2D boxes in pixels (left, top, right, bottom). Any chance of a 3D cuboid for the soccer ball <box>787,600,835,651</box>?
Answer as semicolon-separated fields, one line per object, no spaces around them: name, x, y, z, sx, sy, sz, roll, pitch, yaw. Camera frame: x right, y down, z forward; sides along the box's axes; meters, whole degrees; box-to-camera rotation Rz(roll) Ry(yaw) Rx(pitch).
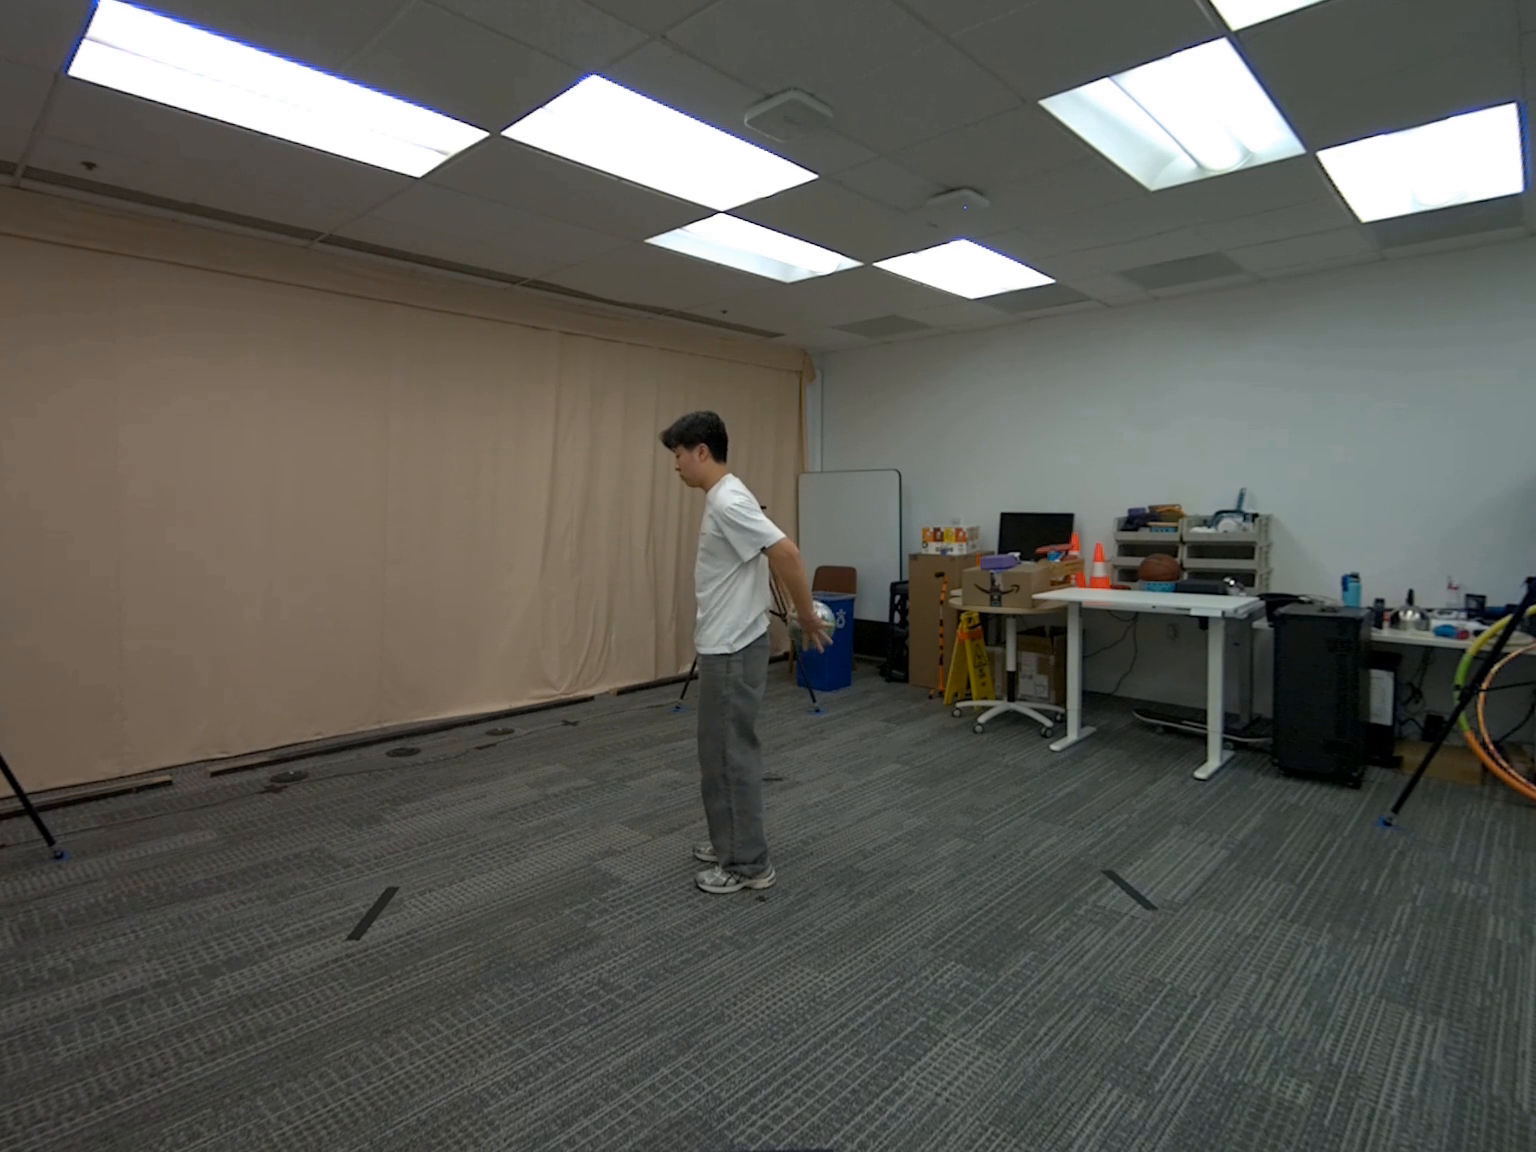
soccer ball;0.120;0.194;3.279;0.187;0.187;0.188;0;4;-2
